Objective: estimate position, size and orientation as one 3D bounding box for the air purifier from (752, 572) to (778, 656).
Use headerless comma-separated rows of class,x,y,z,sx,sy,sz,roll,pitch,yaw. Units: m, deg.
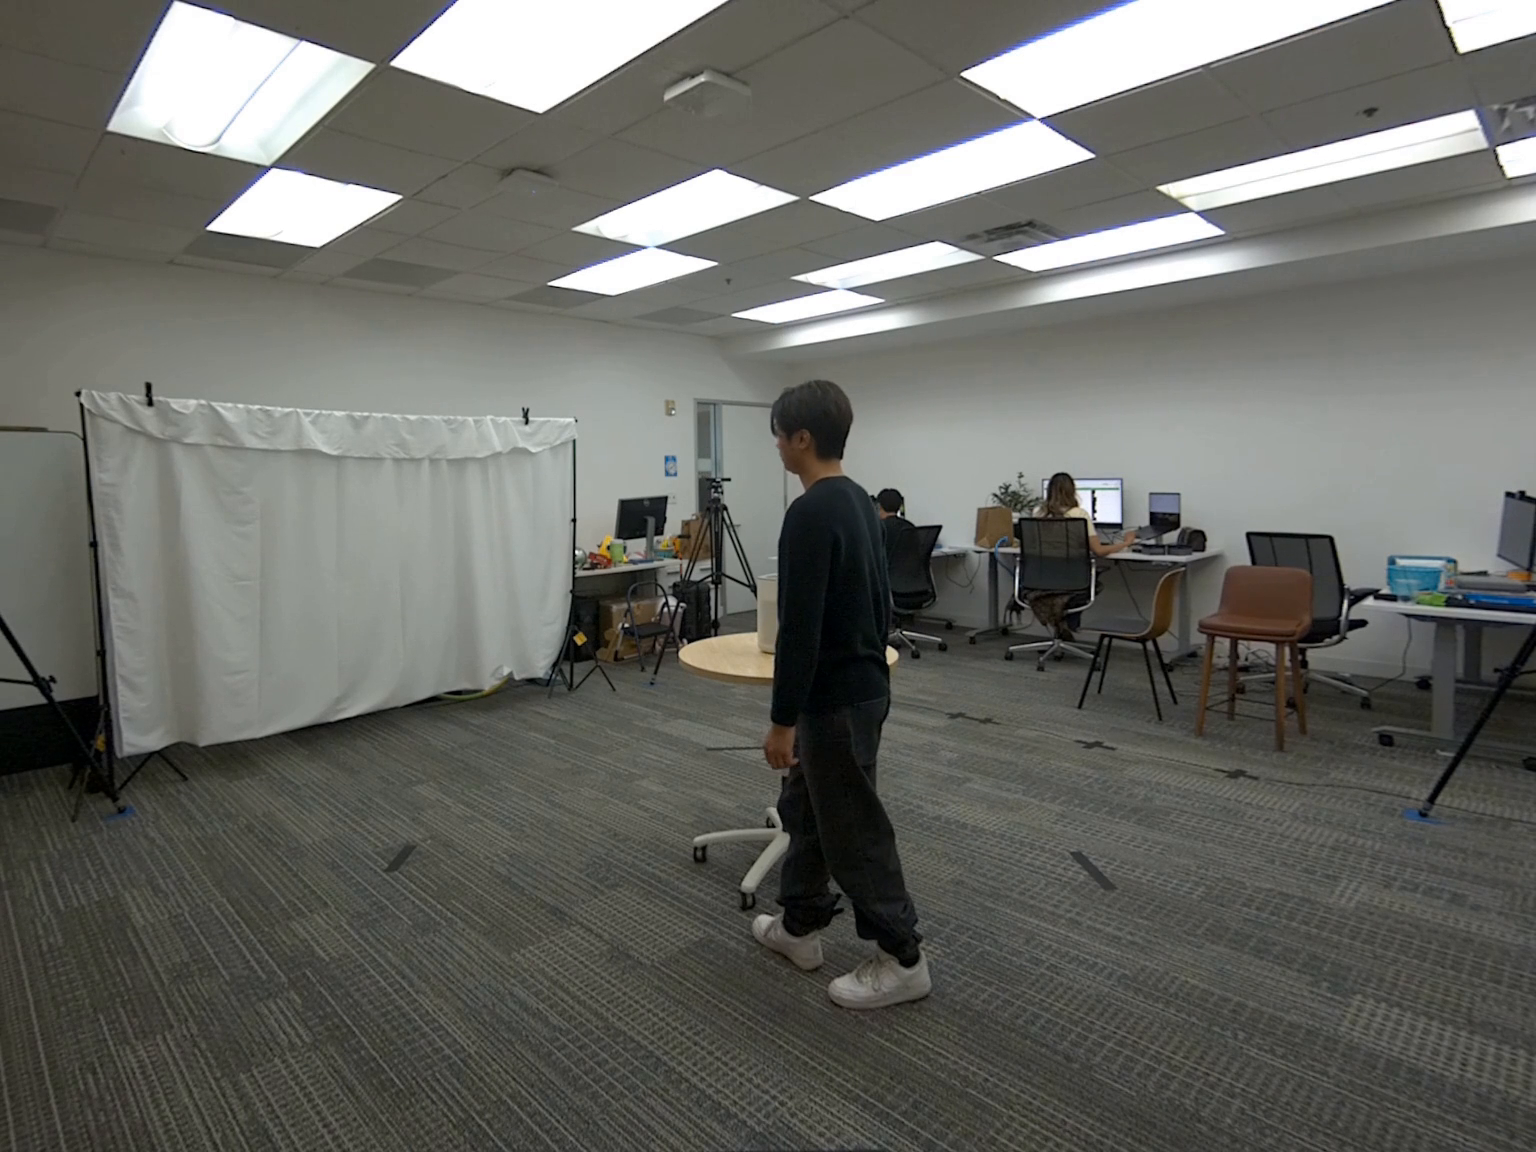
air purifier,0.066,0.132,3.008,0.176,0.264,0.167,3,6,34
